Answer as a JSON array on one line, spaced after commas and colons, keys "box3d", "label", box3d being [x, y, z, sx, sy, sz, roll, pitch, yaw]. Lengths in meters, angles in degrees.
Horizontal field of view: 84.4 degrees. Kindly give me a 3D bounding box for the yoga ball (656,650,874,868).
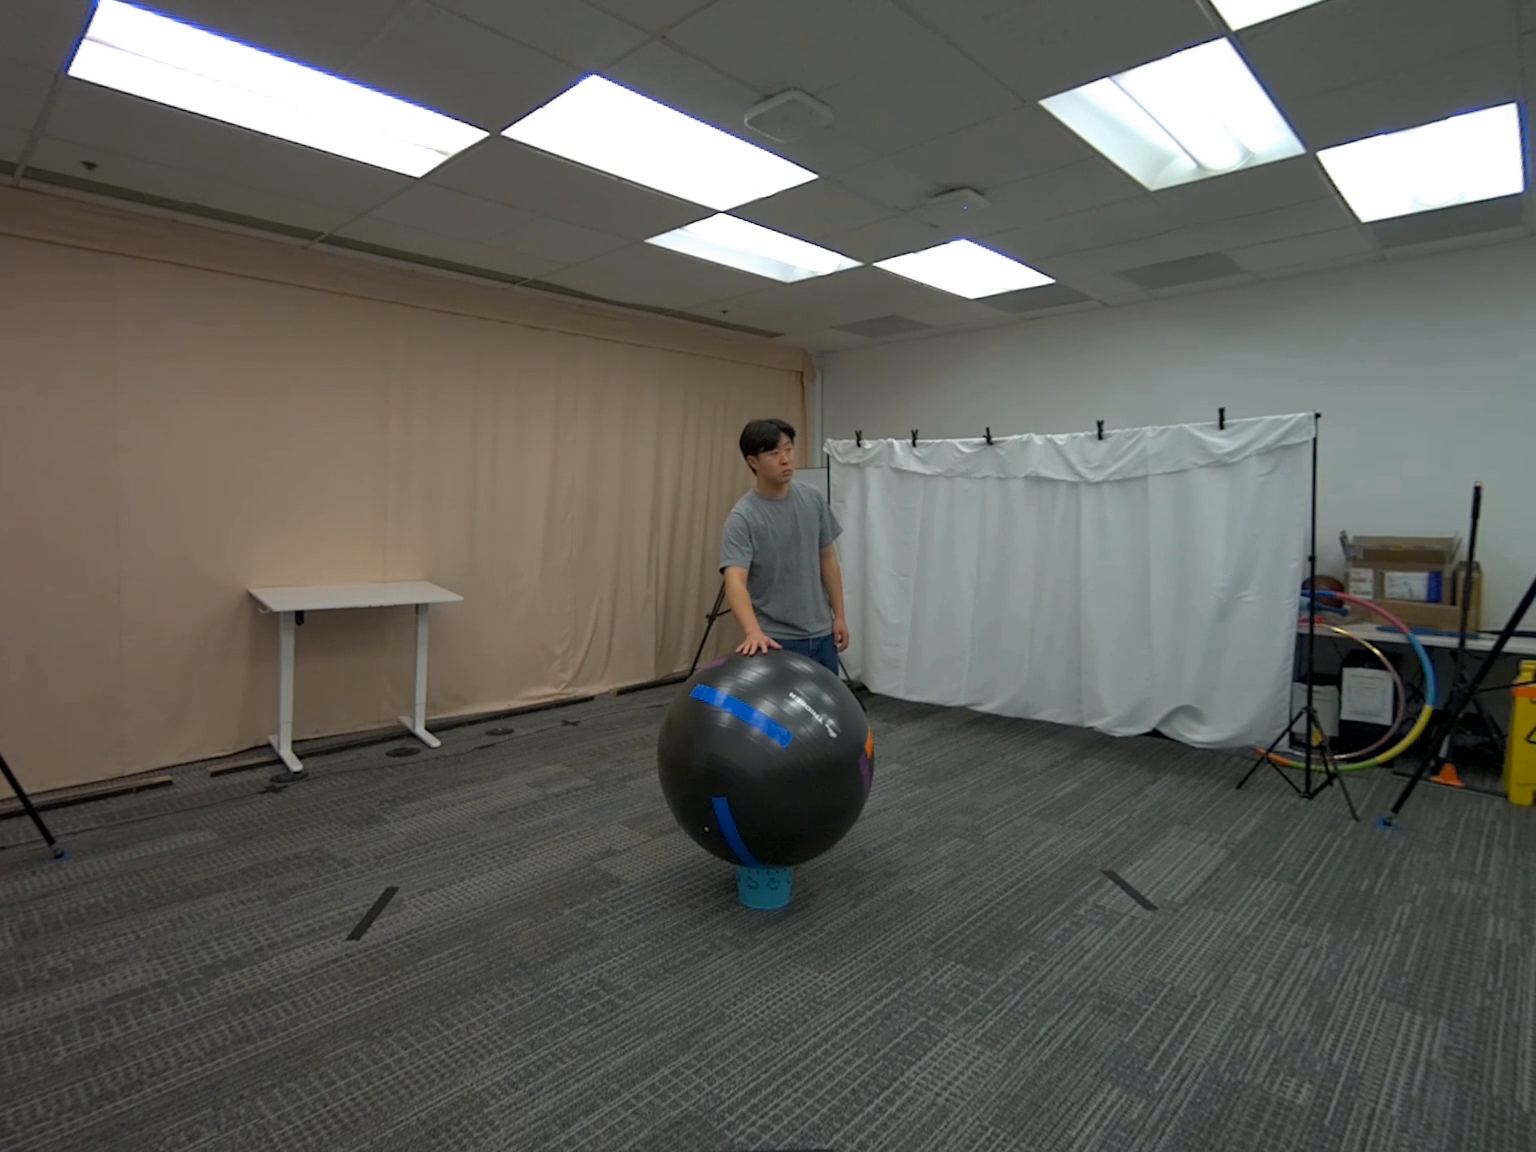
[{"box3d": [-0.012, 0.629, 2.974, 0.757, 0.756, 0.760, 0, 4, -2], "label": "yoga ball"}]
